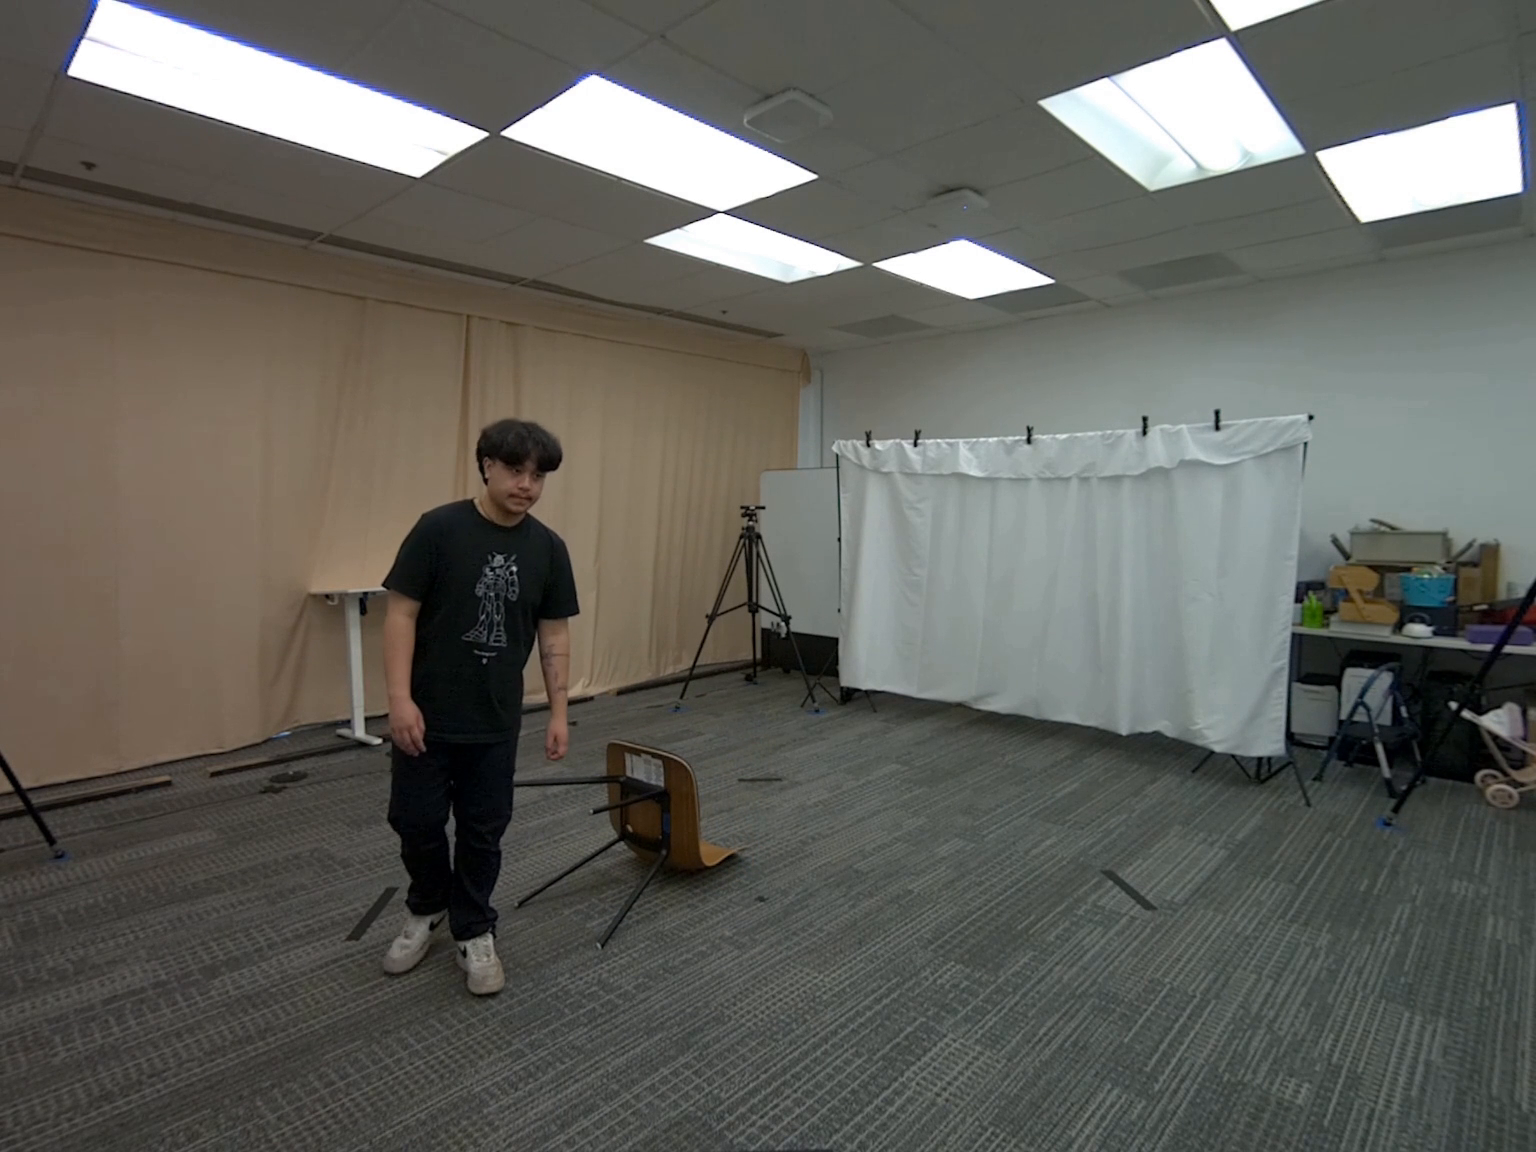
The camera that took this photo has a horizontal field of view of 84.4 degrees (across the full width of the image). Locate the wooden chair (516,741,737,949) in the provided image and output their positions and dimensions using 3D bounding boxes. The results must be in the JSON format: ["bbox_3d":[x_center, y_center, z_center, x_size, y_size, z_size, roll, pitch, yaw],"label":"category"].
[{"bbox_3d":[-0.455,0.882,3.086,0.493,0.522,0.851,2,4,39],"label":"wooden chair"}]
